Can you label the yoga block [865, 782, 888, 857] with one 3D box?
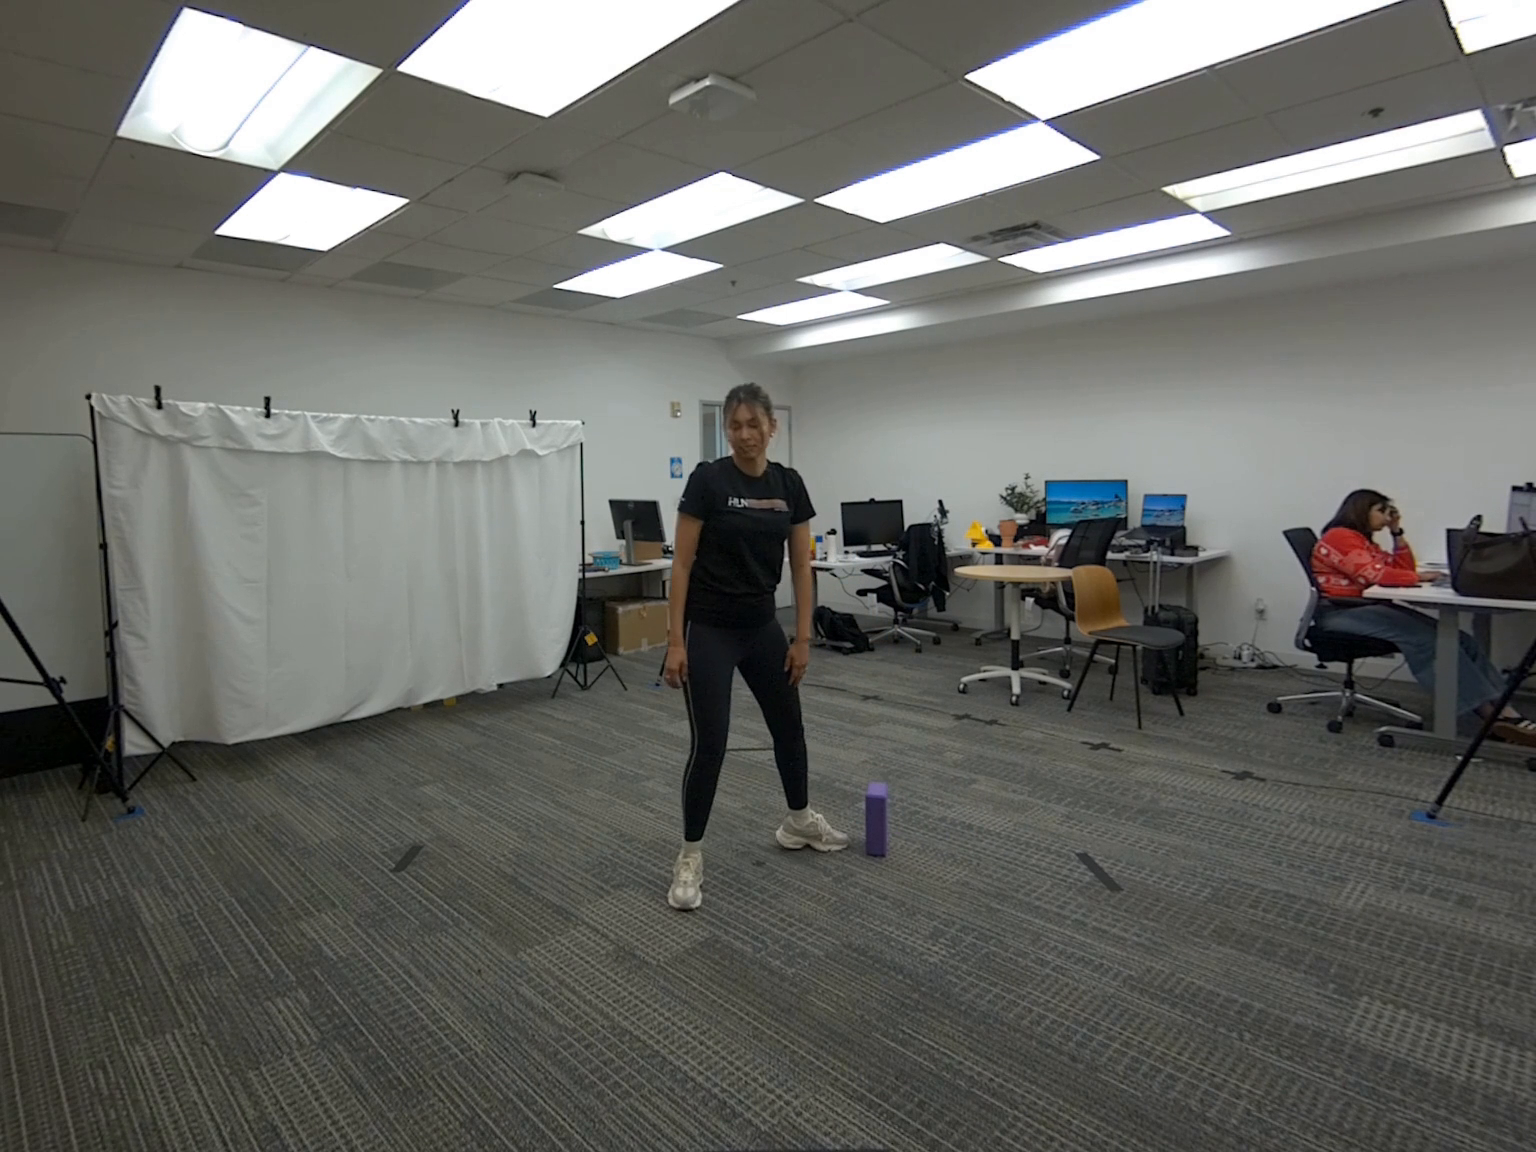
[{"bbox_3d":[0.403,0.910,3.213,0.077,0.229,0.148,-1,3,9],"label":"yoga block"}]
